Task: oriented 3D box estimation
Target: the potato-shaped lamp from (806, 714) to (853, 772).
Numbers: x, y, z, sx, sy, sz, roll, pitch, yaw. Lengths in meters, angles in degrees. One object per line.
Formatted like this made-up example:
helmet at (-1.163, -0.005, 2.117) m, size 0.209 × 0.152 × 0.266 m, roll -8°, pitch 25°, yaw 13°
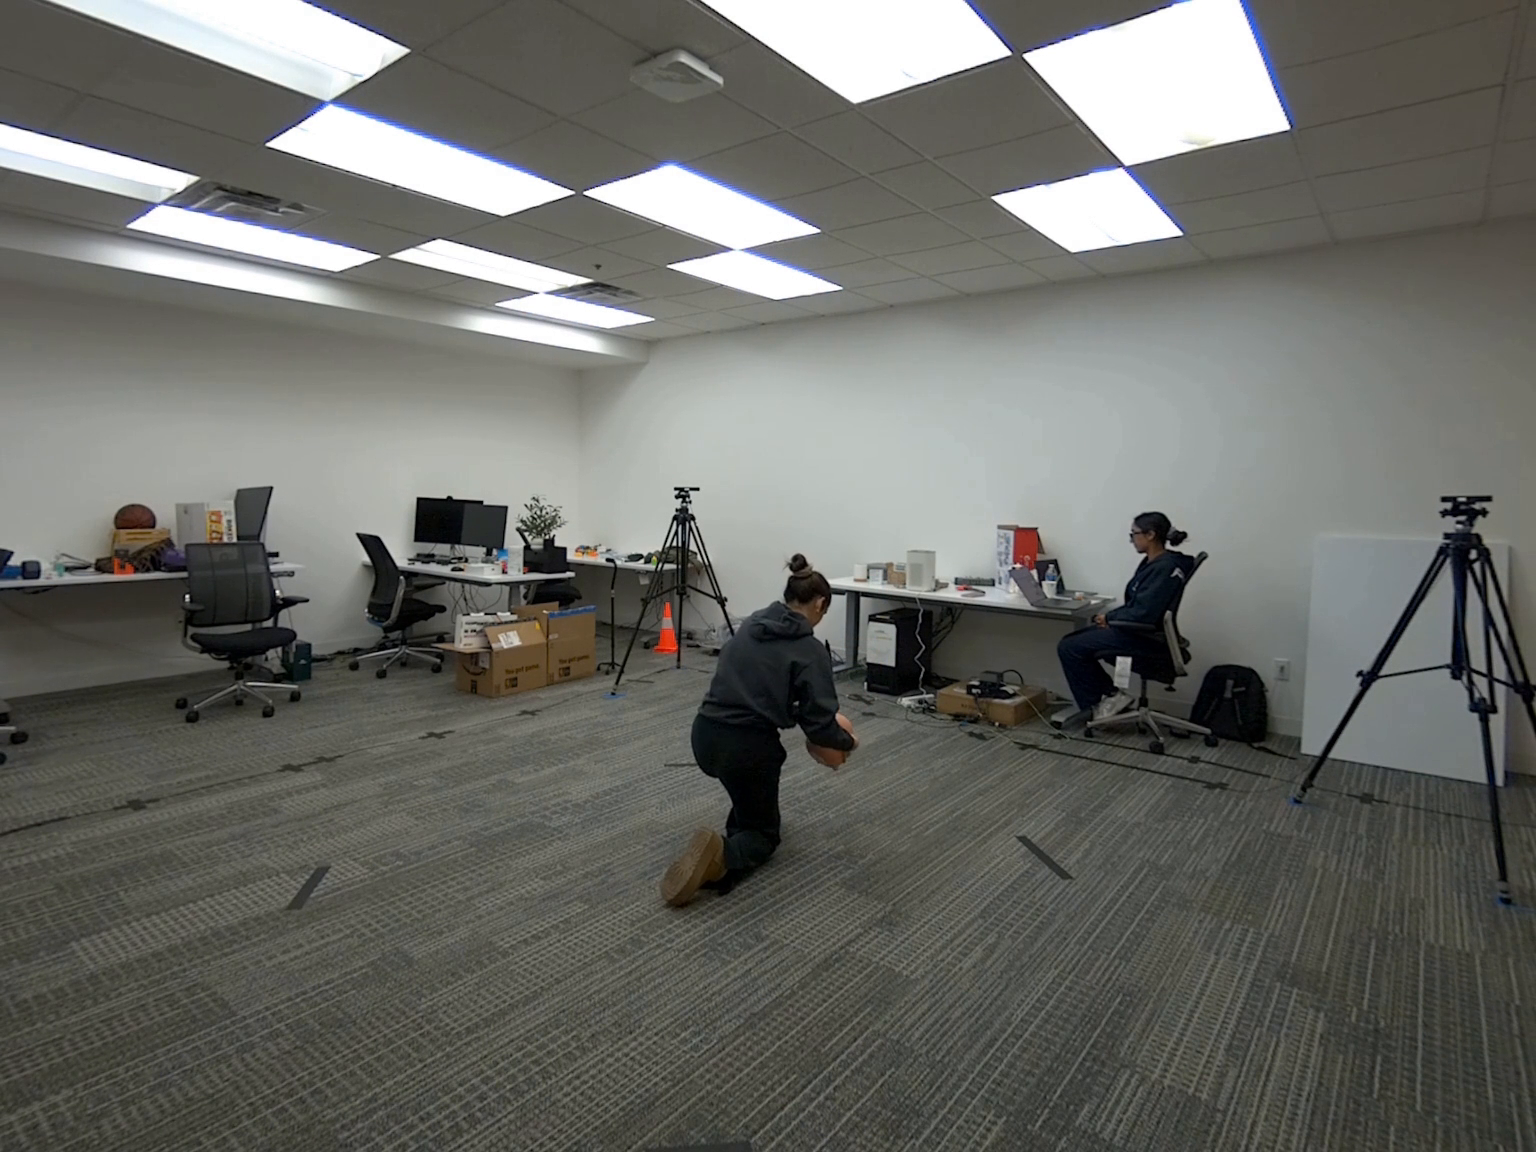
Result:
potato-shaped lamp at (0.244, 0.636, 3.360) m, size 0.198 × 0.176 × 0.160 m, roll -32°, pitch -19°, yaw 1°
